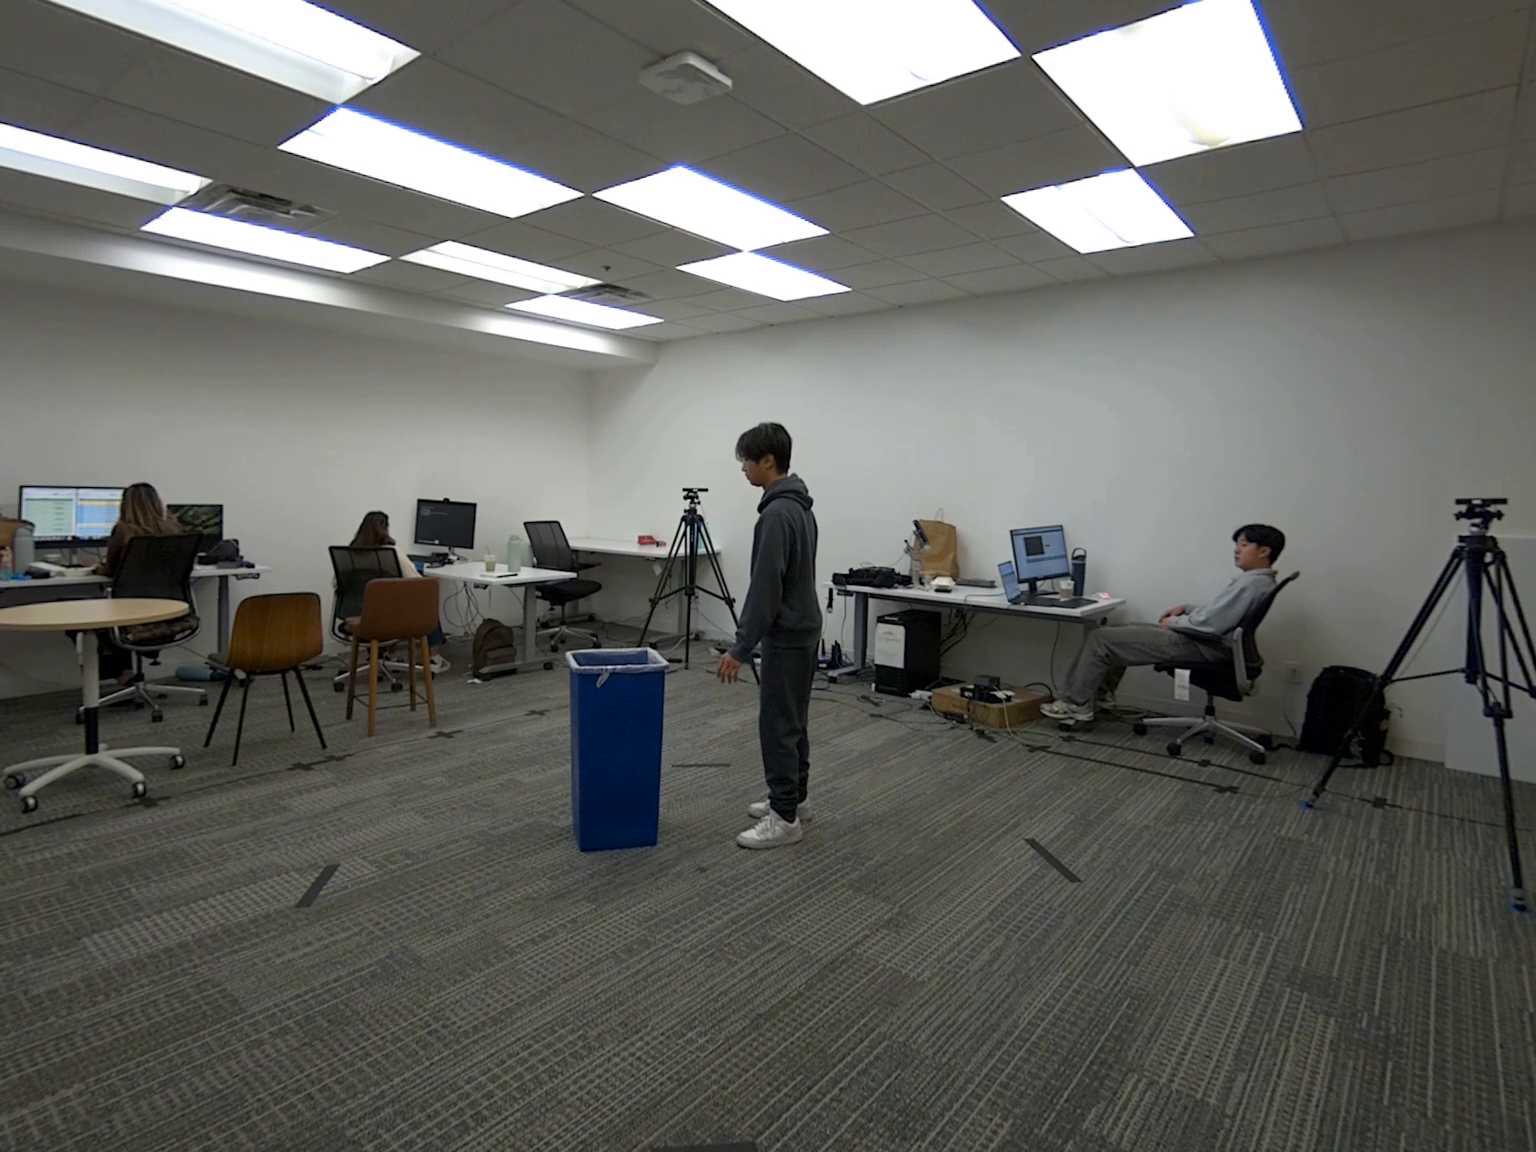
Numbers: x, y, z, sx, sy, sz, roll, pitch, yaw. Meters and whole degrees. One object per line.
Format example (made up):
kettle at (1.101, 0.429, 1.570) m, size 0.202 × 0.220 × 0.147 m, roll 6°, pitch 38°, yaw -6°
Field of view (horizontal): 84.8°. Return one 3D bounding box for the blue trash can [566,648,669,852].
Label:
blue trash can at (-0.627, 0.677, 3.410) m, size 0.372 × 0.712 × 0.381 m, roll 1°, pitch 3°, yaw -17°
